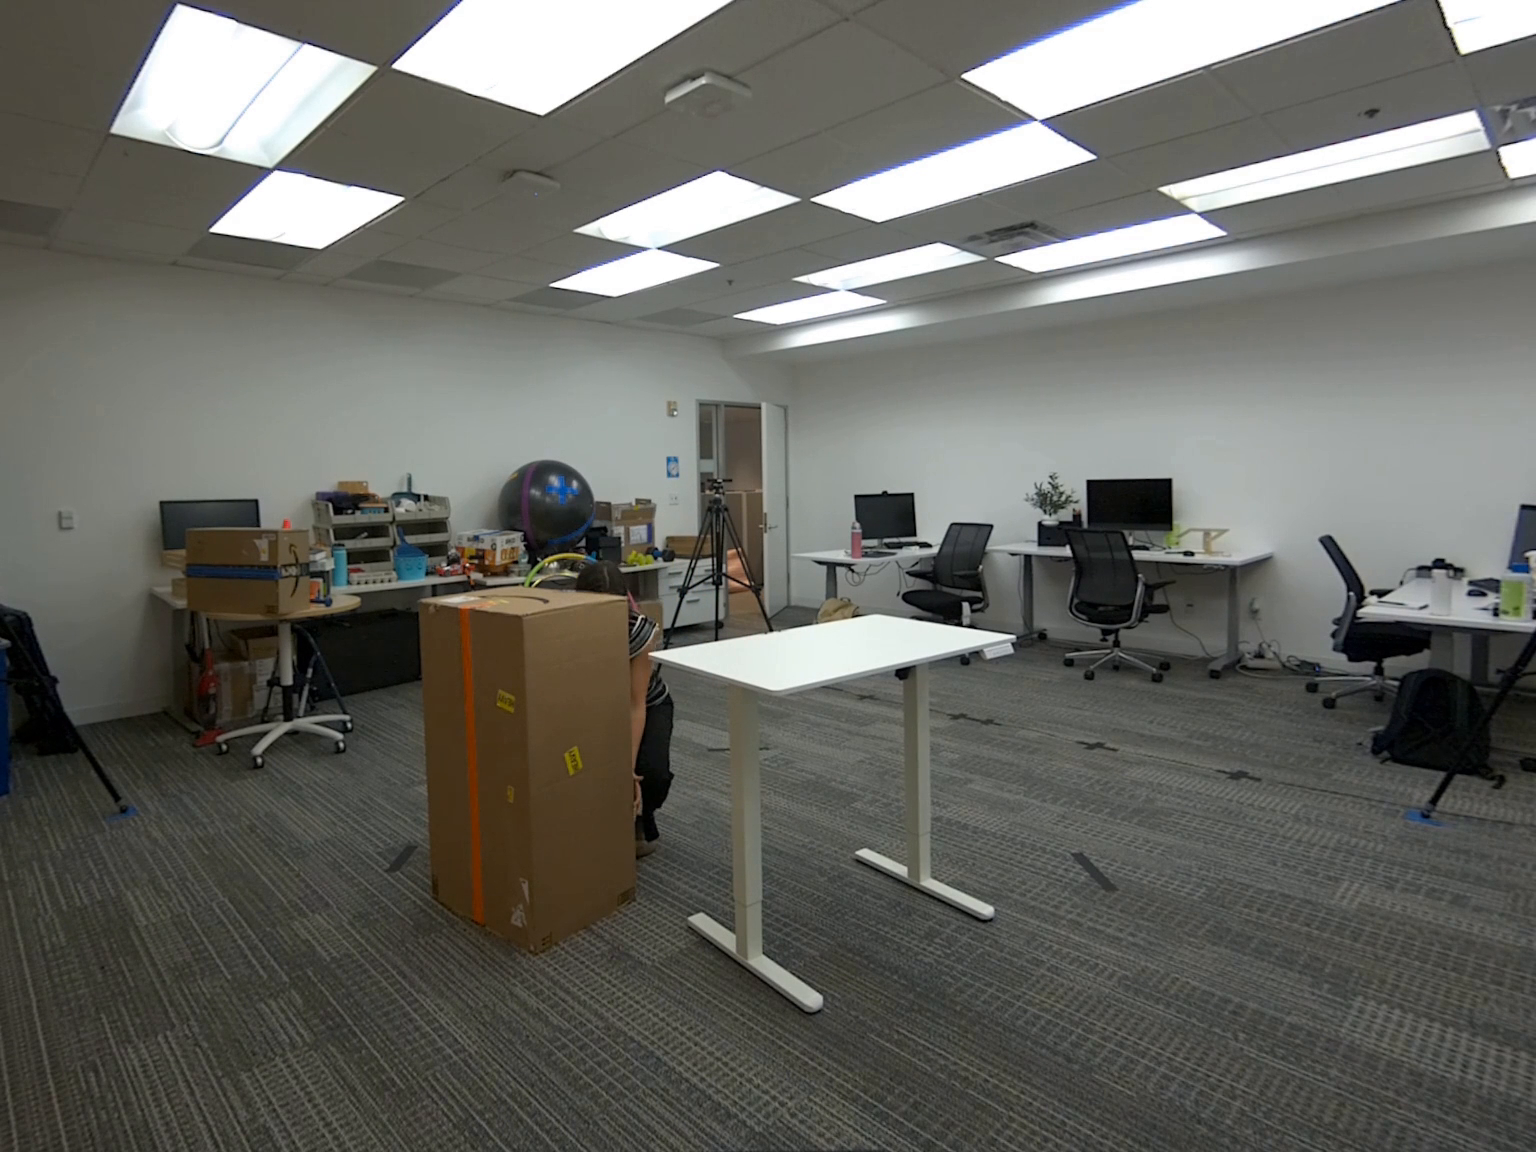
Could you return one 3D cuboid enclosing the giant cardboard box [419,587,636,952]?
[{"bbox_3d":[-0.803,0.580,2.842,0.595,1.022,0.415,2,5,38],"label":"giant cardboard box"}]
